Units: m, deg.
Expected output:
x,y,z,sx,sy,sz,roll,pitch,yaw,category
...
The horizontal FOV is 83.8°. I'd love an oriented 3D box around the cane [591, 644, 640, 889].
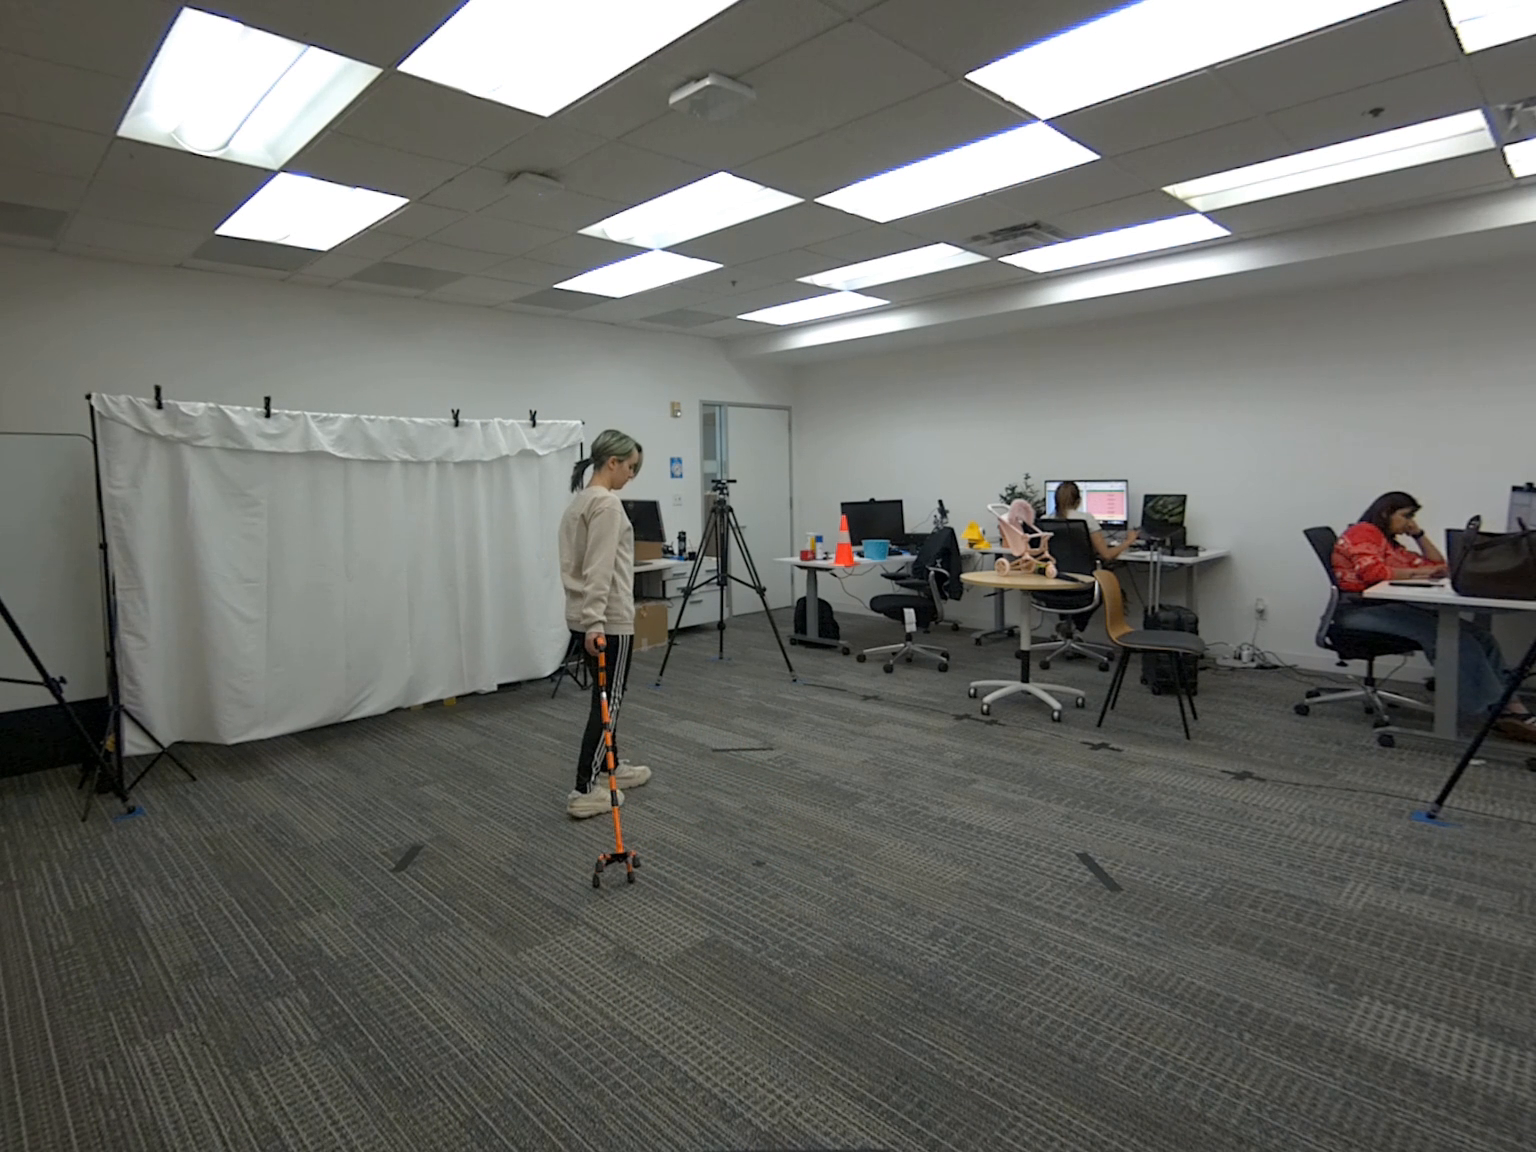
x,y,z,sx,sy,sz,roll,pitch,yaw,category
-0.596,0.641,3.145,0.150,0.935,0.202,-4,-34,-13,cane
